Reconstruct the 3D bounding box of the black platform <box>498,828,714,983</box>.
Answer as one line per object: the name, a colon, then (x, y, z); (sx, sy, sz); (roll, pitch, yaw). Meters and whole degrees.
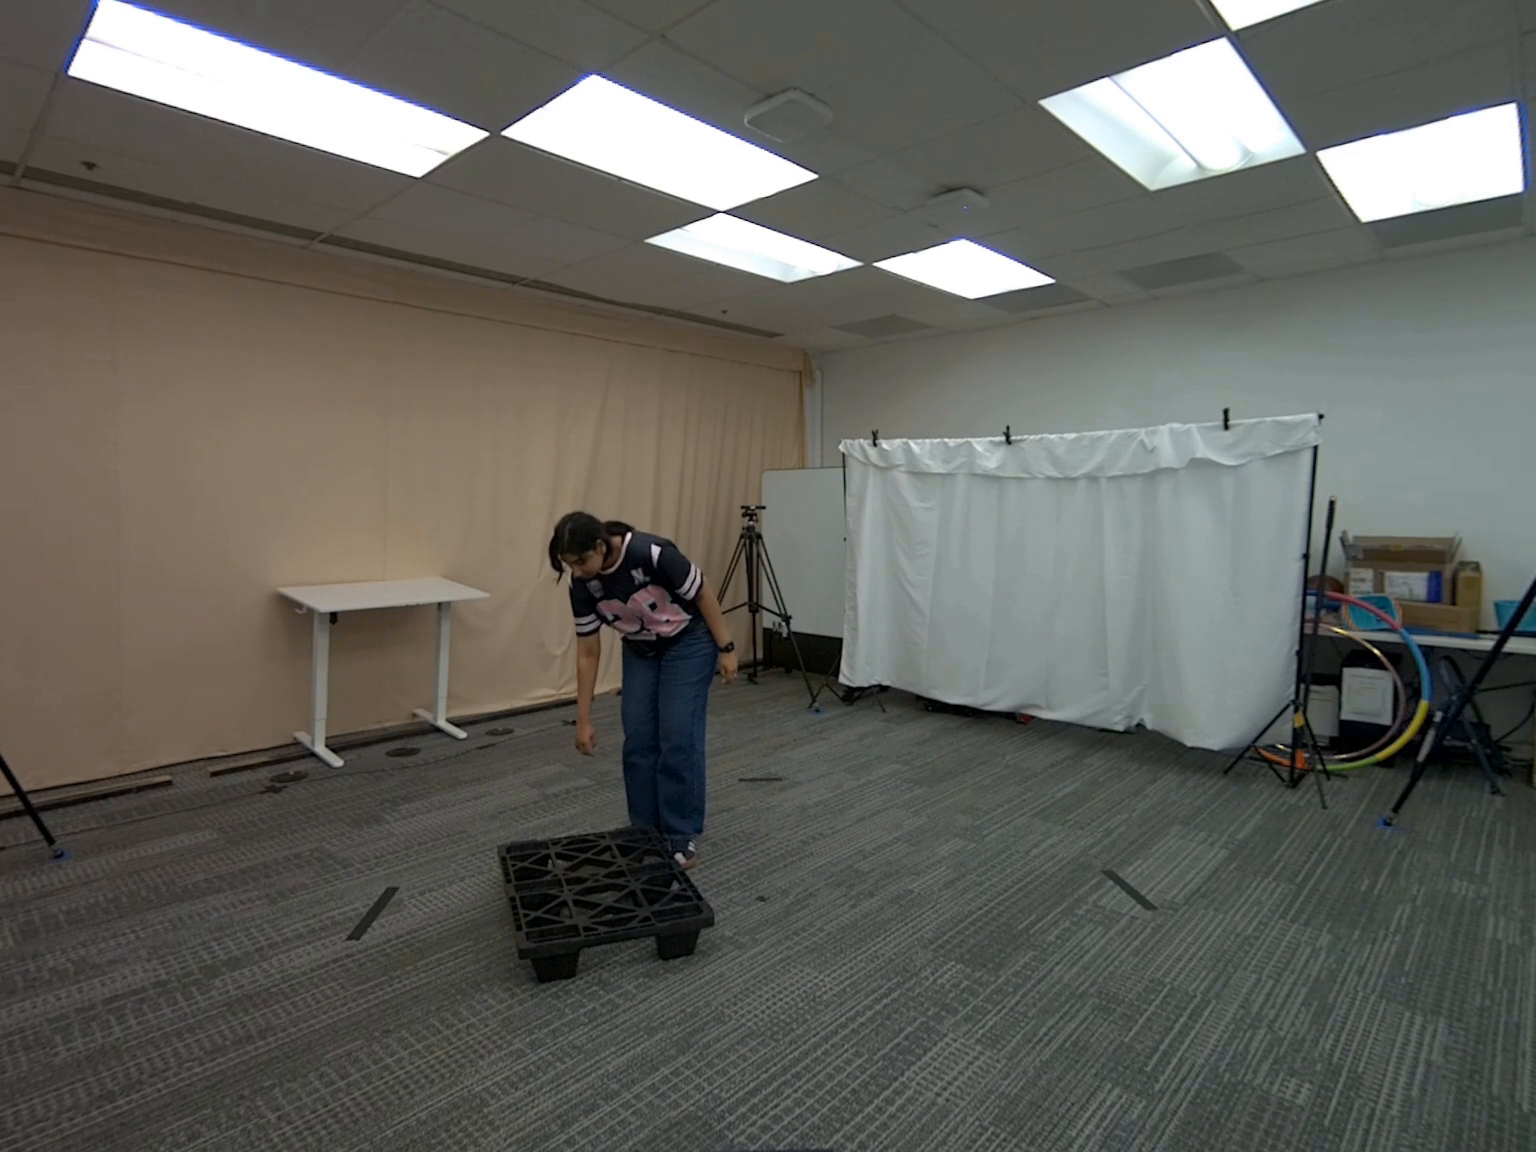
black platform: (-0.587, 1.087, 2.867); (0.593, 0.143, 0.824); (-3, 5, -21)
